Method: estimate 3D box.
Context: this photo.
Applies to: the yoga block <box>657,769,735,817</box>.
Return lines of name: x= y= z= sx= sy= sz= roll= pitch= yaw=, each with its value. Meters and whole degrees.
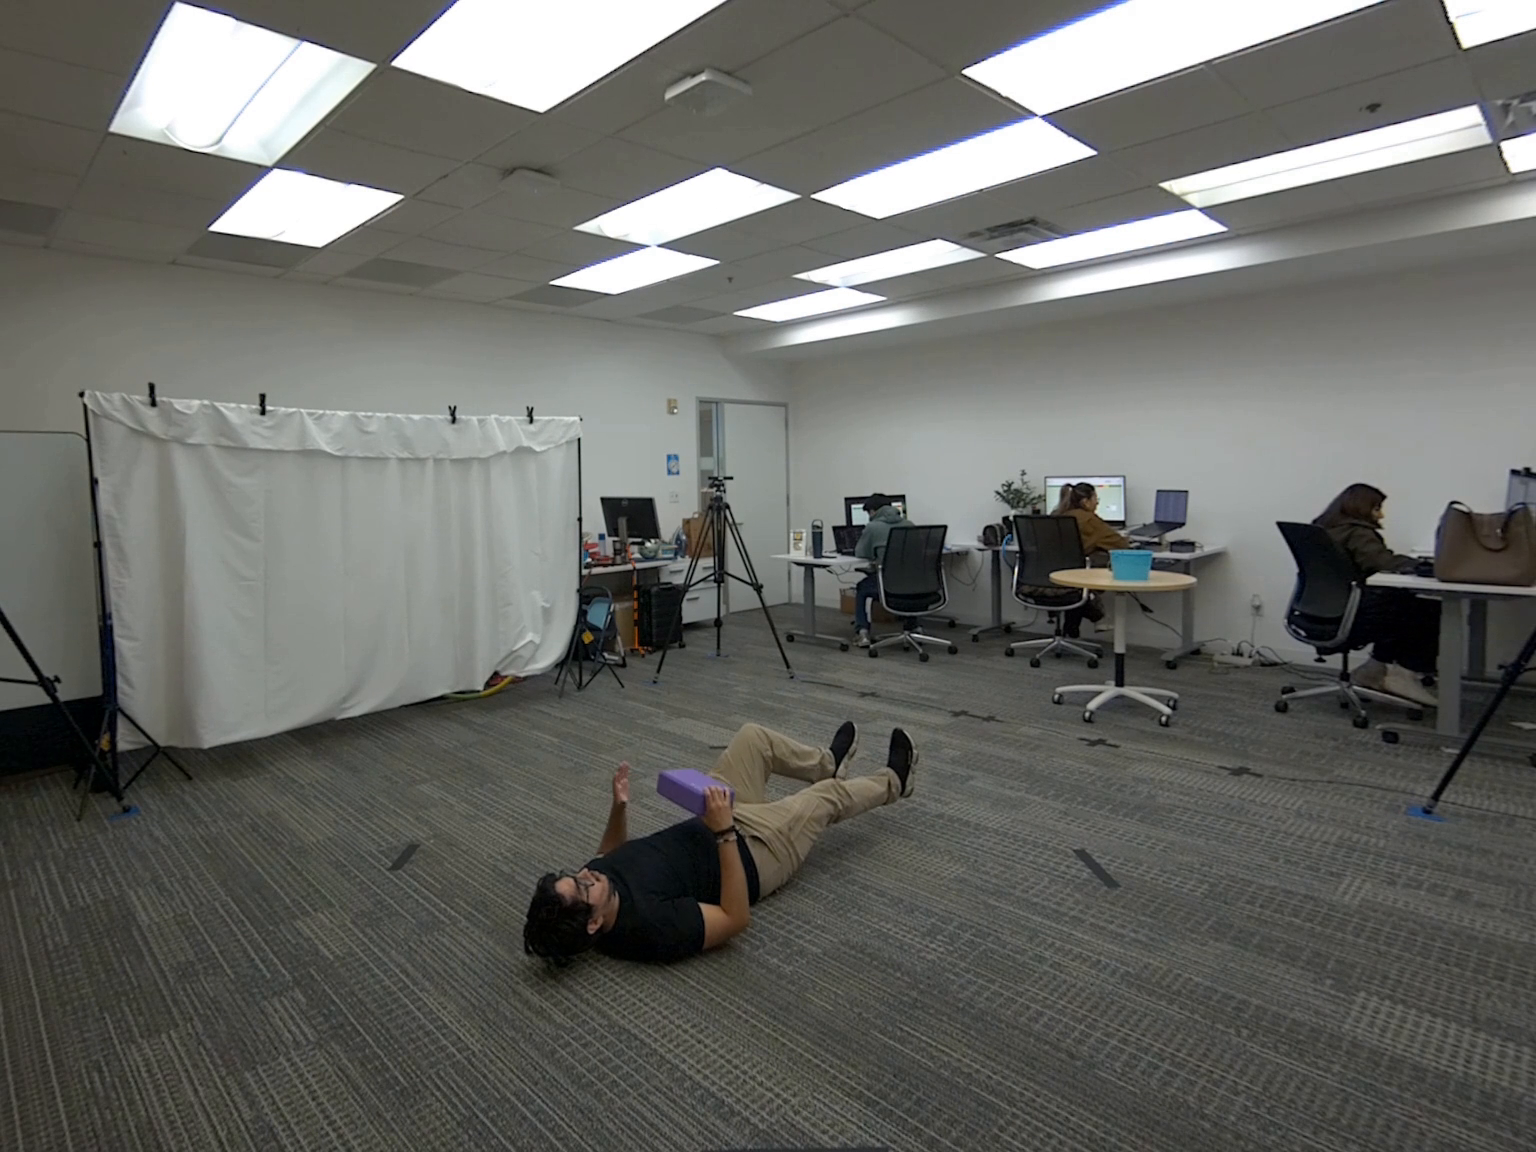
yoga block: x=-0.231 y=0.700 z=2.759 sx=0.144 sy=0.076 sz=0.237 roll=7 pitch=3 yaw=-43
